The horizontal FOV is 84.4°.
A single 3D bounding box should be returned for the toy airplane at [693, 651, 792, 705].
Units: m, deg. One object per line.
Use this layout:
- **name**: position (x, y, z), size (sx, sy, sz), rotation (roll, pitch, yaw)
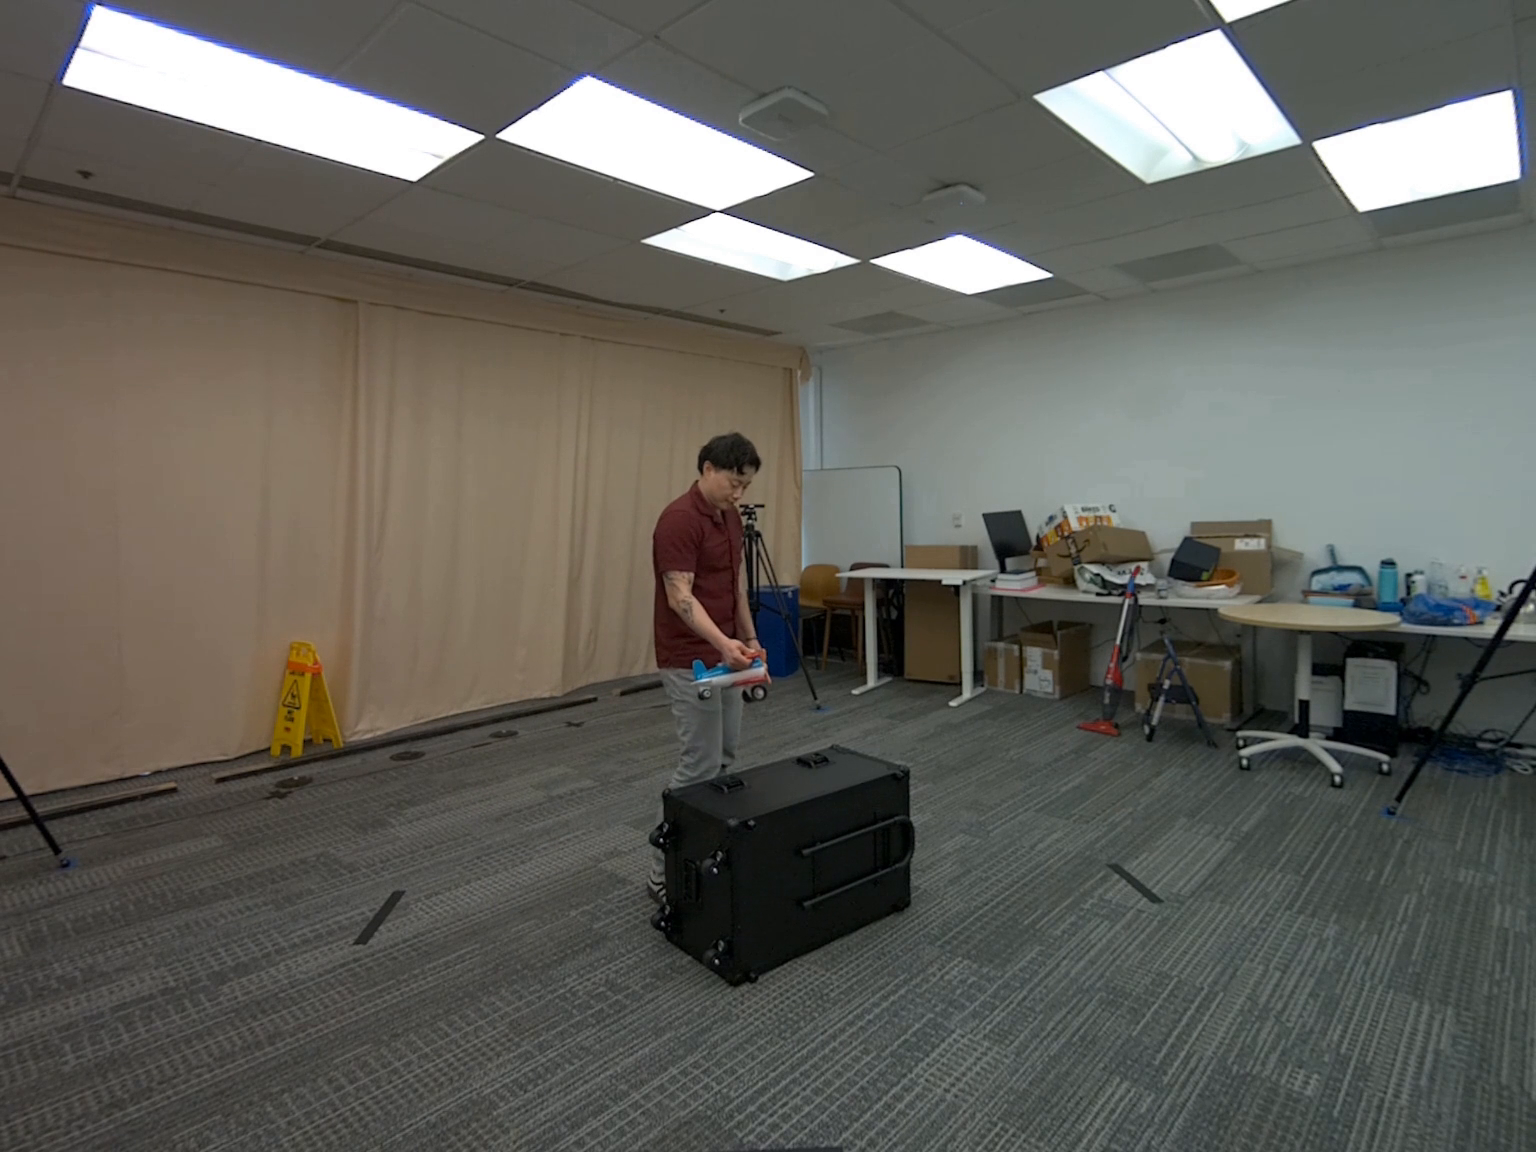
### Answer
- **toy airplane**: position (-0.107, 0.337, 2.787), size (0.258, 0.158, 0.250), rotation (-12, -16, 40)
